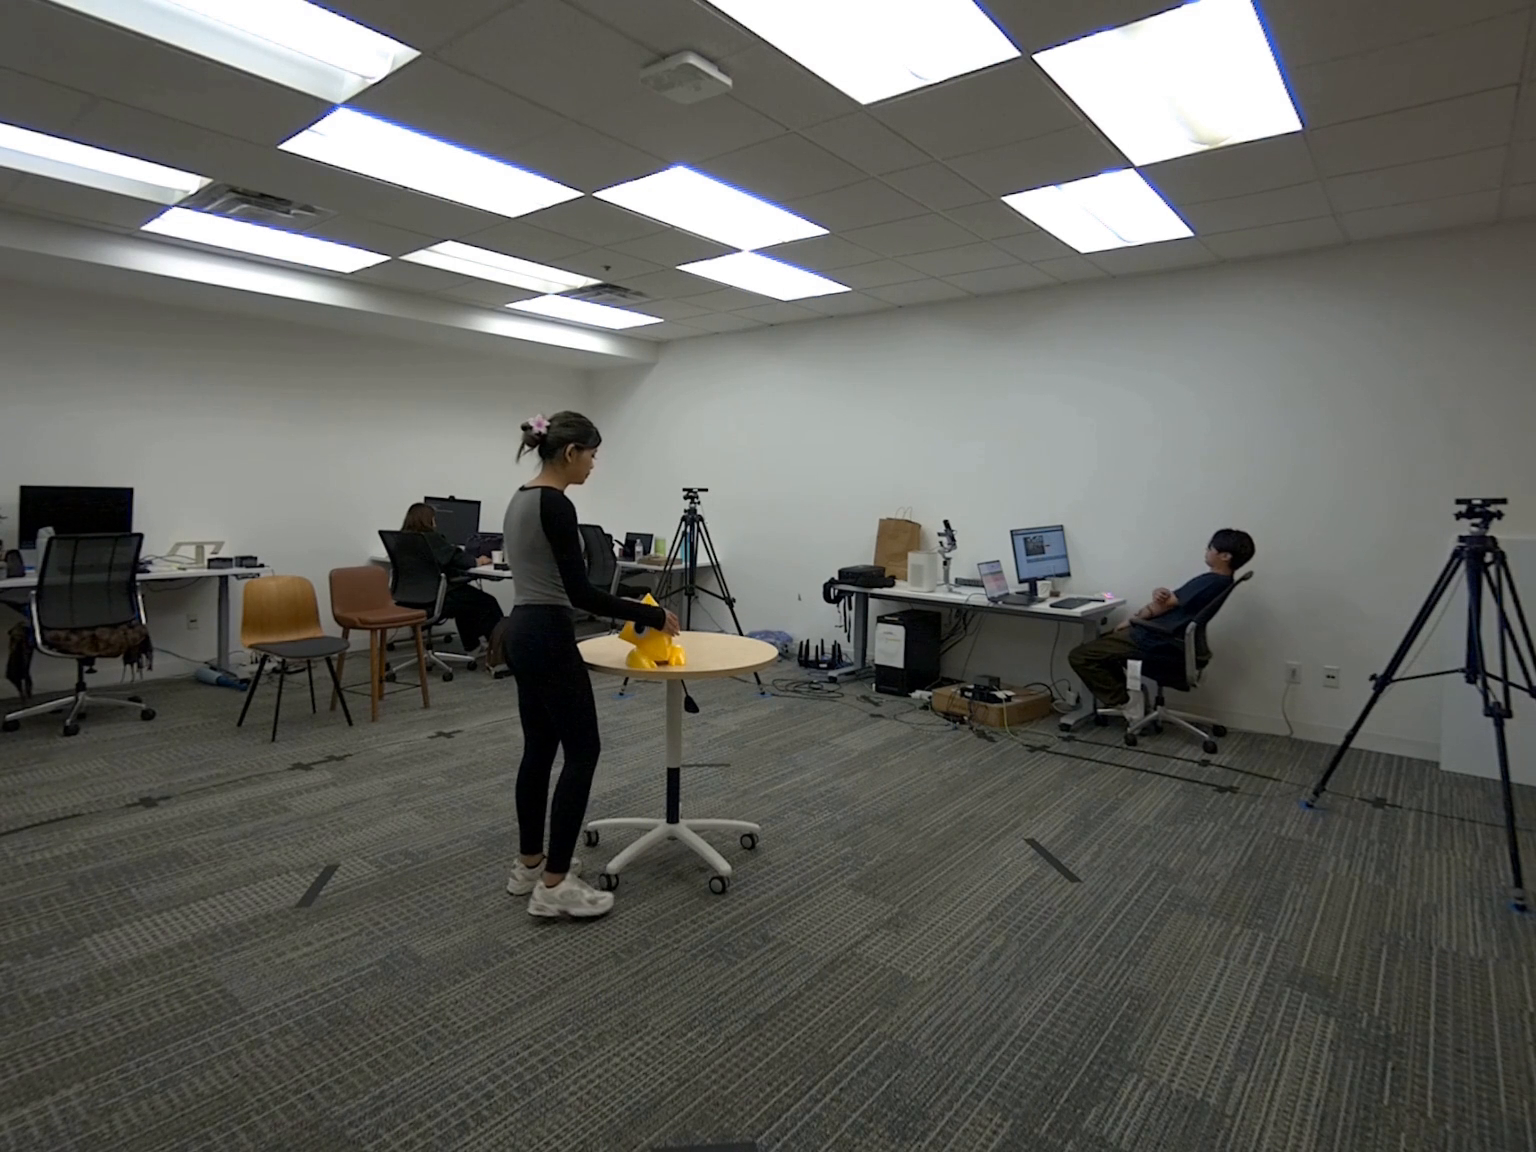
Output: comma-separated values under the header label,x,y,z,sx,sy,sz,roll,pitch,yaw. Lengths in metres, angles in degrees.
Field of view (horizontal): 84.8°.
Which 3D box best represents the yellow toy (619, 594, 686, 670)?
label,x,y,z,sx,sy,sz,roll,pitch,yaw
yellow toy,-0.396,0.183,2.904,0.199,0.230,0.199,-2,5,-31
